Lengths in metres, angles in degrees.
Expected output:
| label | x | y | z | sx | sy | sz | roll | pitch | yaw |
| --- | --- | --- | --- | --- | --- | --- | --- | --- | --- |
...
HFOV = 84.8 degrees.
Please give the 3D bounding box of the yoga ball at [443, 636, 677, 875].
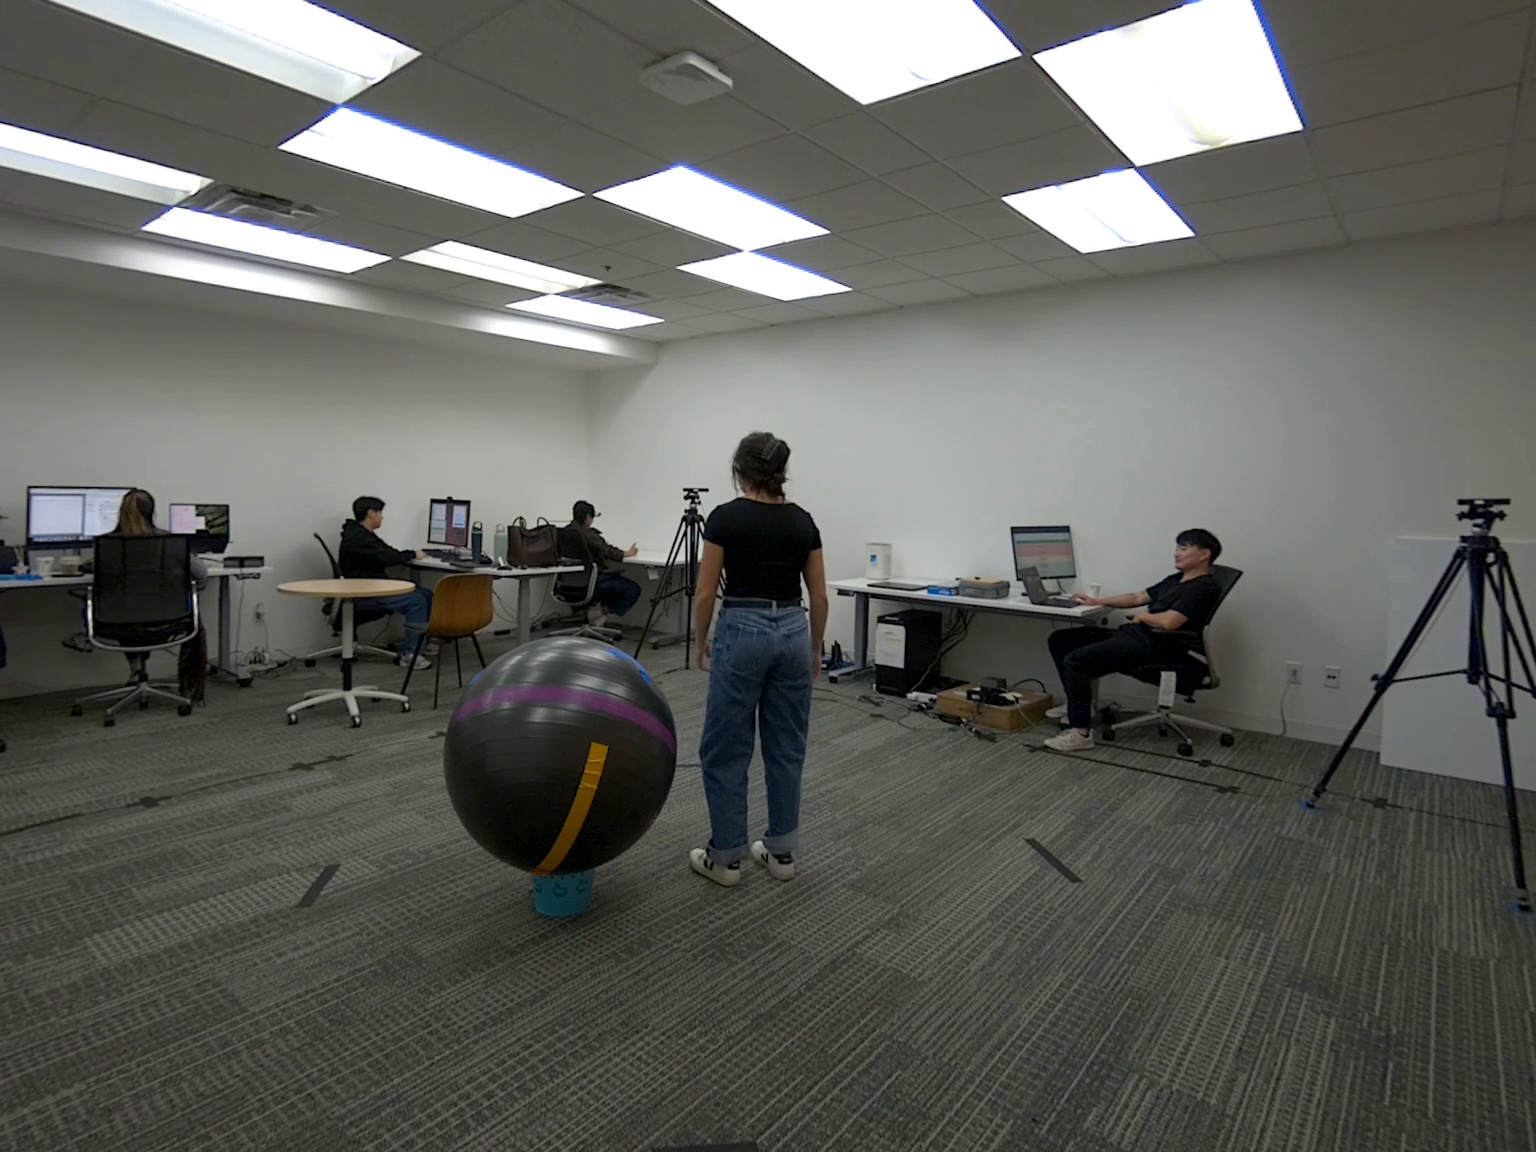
| label | x | y | z | sx | sy | sz | roll | pitch | yaw |
| --- | --- | --- | --- | --- | --- | --- | --- | --- | --- |
| yoga ball | -0.694 | 0.578 | 2.809 | 0.757 | 0.755 | 0.762 | 1 | 4 | -2 |
